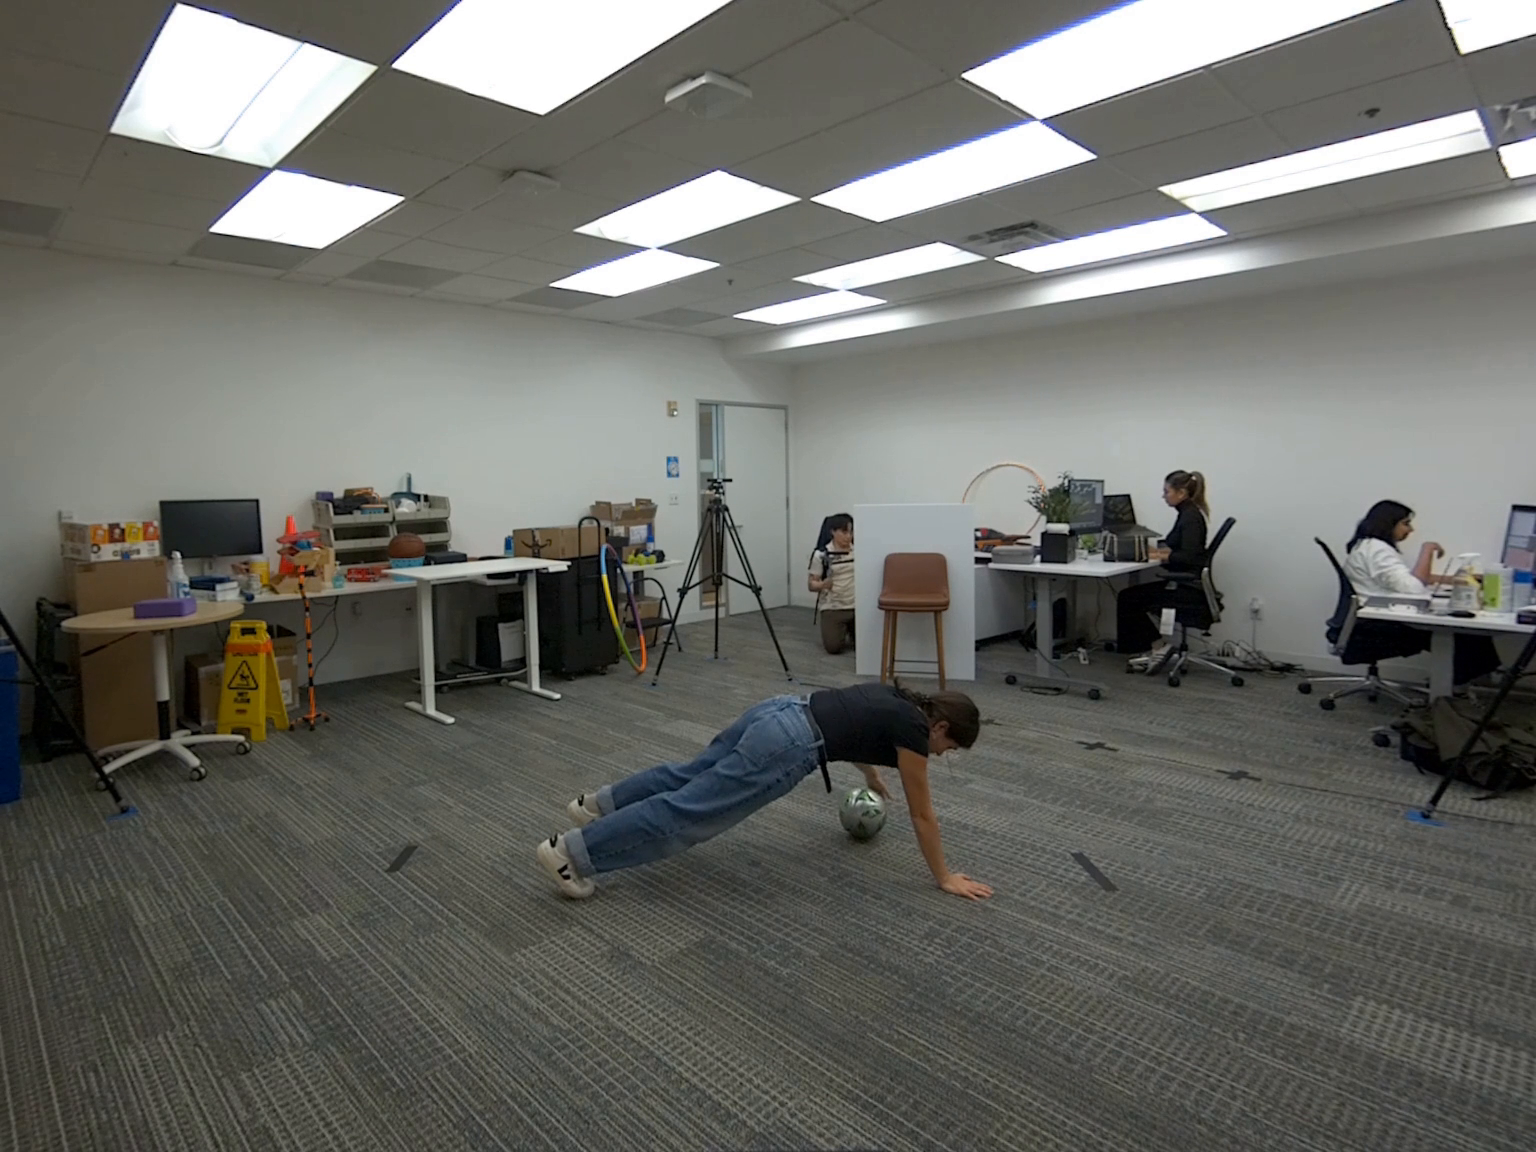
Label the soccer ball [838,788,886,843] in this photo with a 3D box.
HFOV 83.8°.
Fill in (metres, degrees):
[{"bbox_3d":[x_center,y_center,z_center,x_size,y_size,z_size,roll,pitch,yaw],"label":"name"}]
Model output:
[{"bbox_3d":[0.371,0.922,3.325,0.187,0.187,0.188,-1,5,-2],"label":"soccer ball"}]
